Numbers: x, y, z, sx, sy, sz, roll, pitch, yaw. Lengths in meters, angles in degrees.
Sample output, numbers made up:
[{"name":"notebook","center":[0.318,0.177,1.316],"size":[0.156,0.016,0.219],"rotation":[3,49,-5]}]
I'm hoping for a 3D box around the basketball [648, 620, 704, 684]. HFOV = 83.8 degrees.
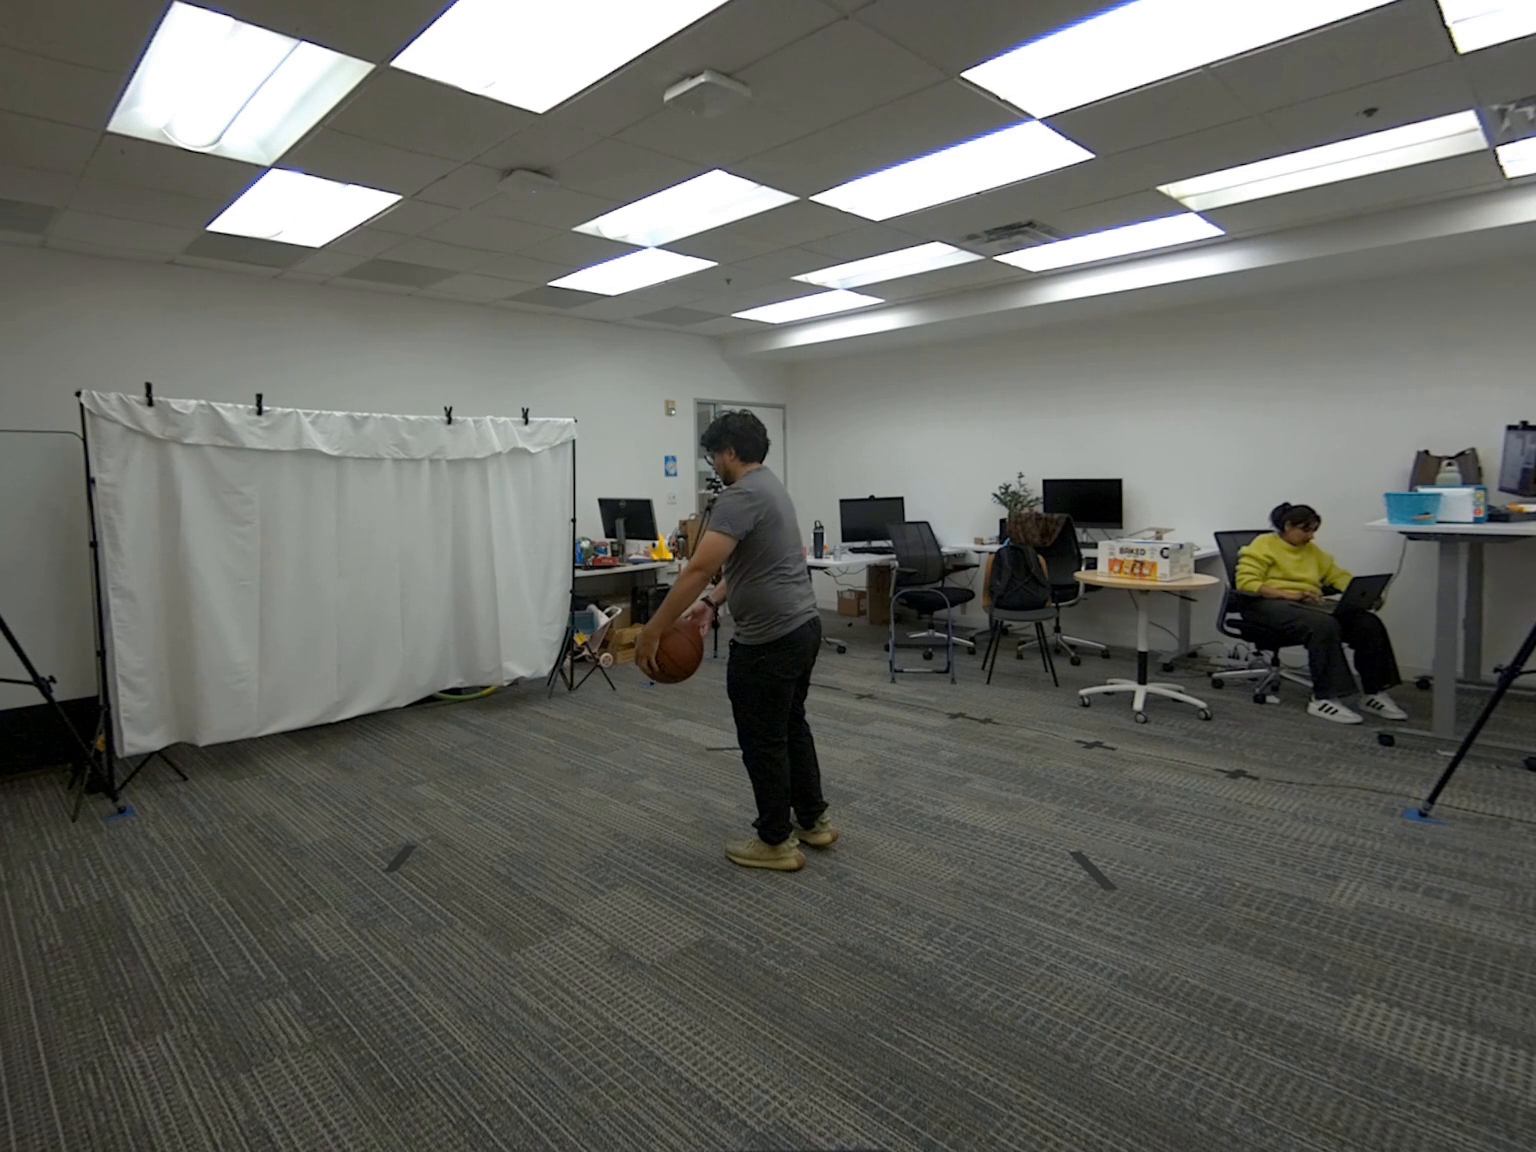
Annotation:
[{"name":"basketball","center":[-0.337,0.252,2.967],"size":[0.236,0.235,0.237],"rotation":[-1,5,-2]}]
